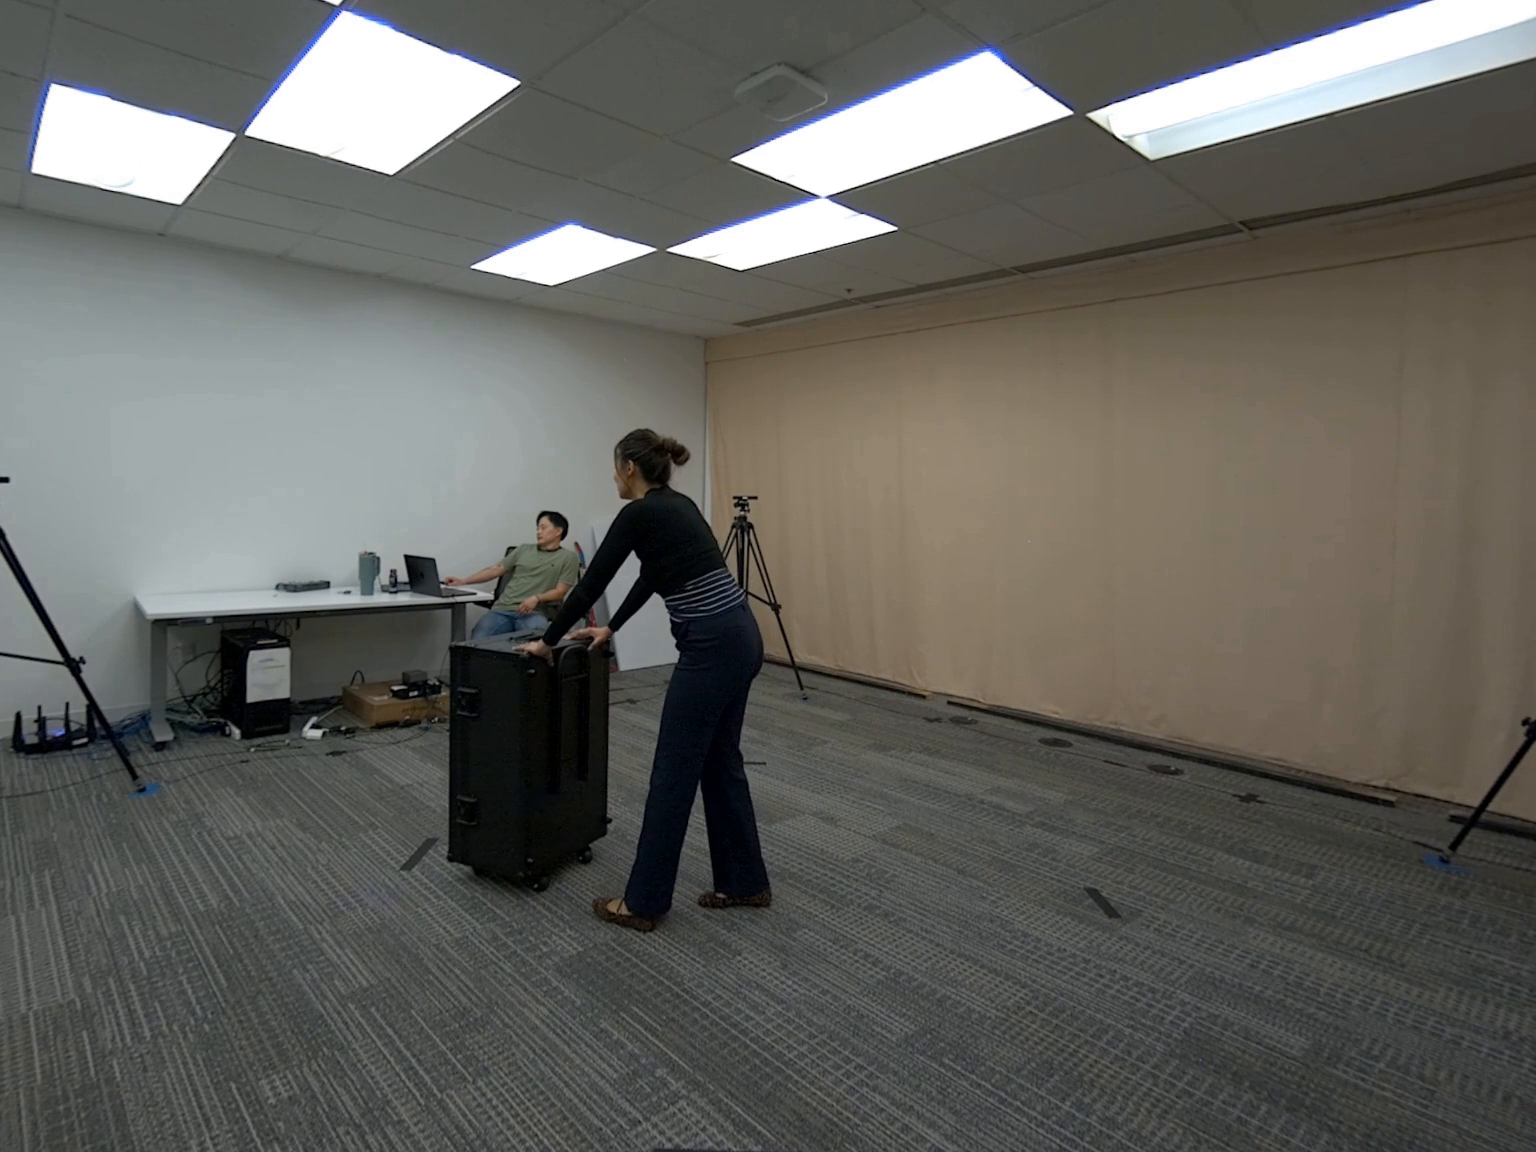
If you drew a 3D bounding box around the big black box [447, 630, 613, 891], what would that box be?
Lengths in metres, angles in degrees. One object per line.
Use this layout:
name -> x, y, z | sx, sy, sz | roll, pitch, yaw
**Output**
big black box -> -0.872, 0.662, 3.126 | 0.404, 0.859, 0.512 | 4, 4, 26
